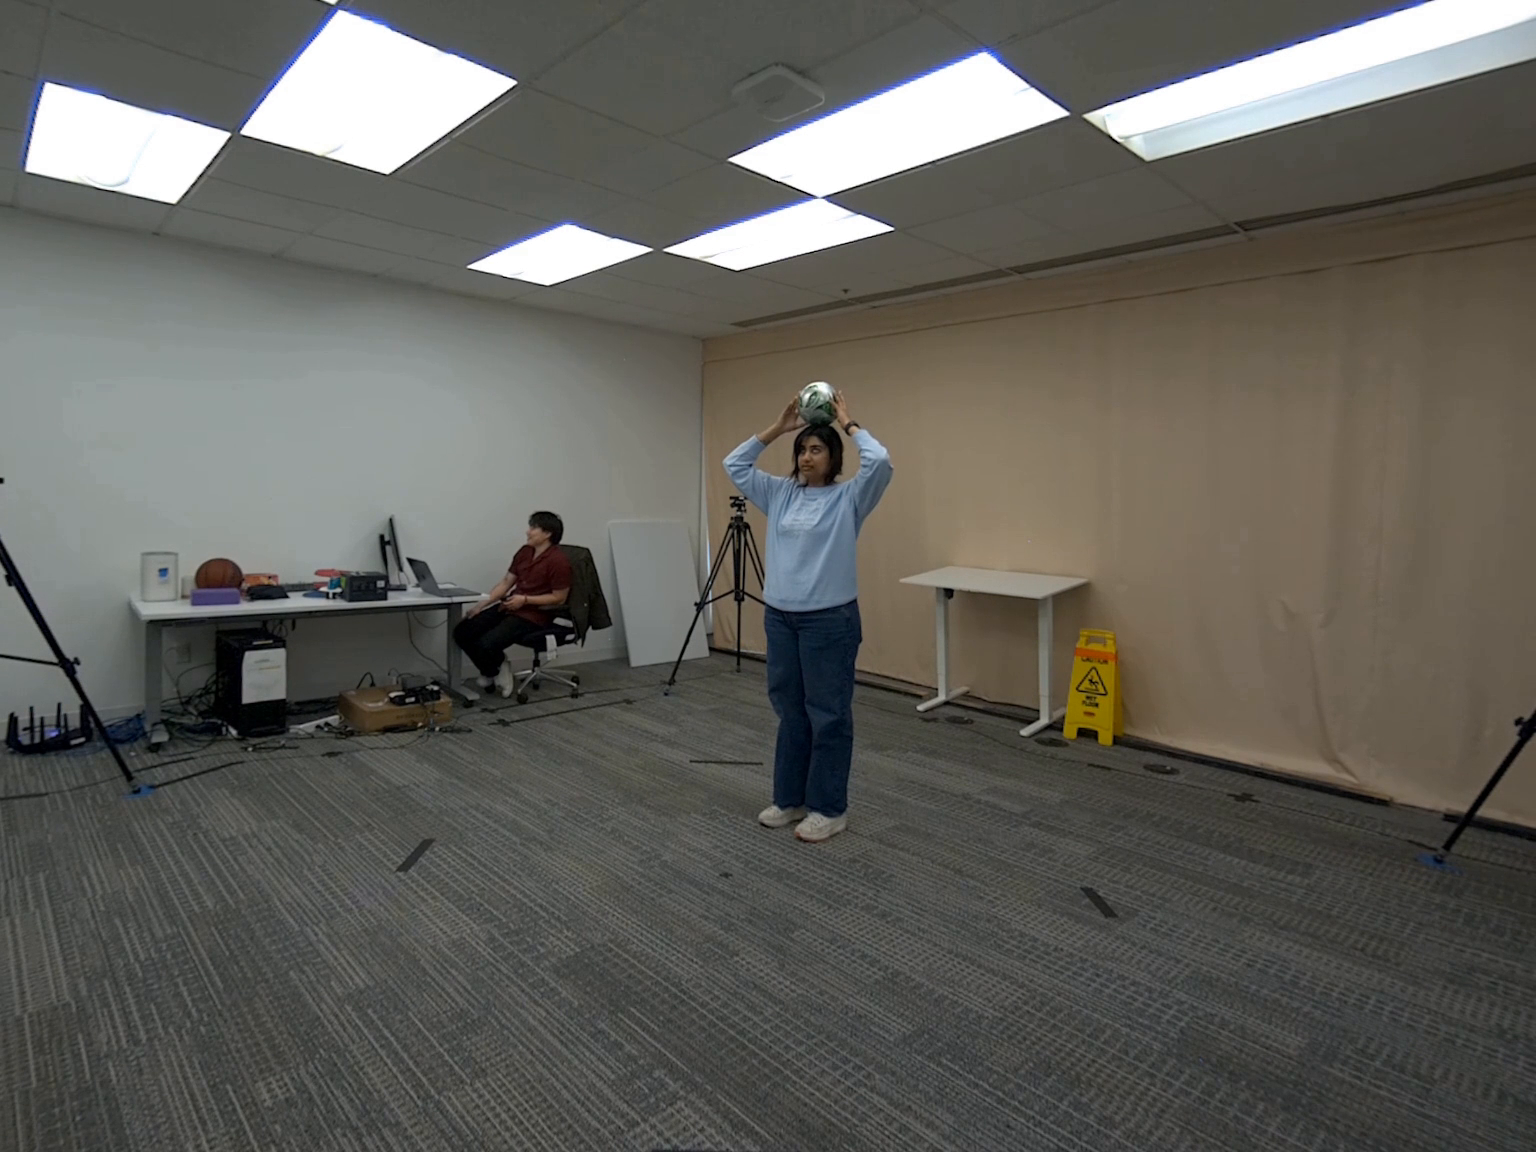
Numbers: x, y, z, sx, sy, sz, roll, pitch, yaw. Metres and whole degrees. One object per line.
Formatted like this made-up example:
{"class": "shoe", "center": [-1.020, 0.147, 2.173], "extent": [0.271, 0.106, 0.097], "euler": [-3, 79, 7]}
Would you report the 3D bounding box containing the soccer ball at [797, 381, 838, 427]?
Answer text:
{"class": "soccer ball", "center": [0.206, -0.717, 3.516], "extent": [0.187, 0.187, 0.188], "euler": [1, 4, -1]}
